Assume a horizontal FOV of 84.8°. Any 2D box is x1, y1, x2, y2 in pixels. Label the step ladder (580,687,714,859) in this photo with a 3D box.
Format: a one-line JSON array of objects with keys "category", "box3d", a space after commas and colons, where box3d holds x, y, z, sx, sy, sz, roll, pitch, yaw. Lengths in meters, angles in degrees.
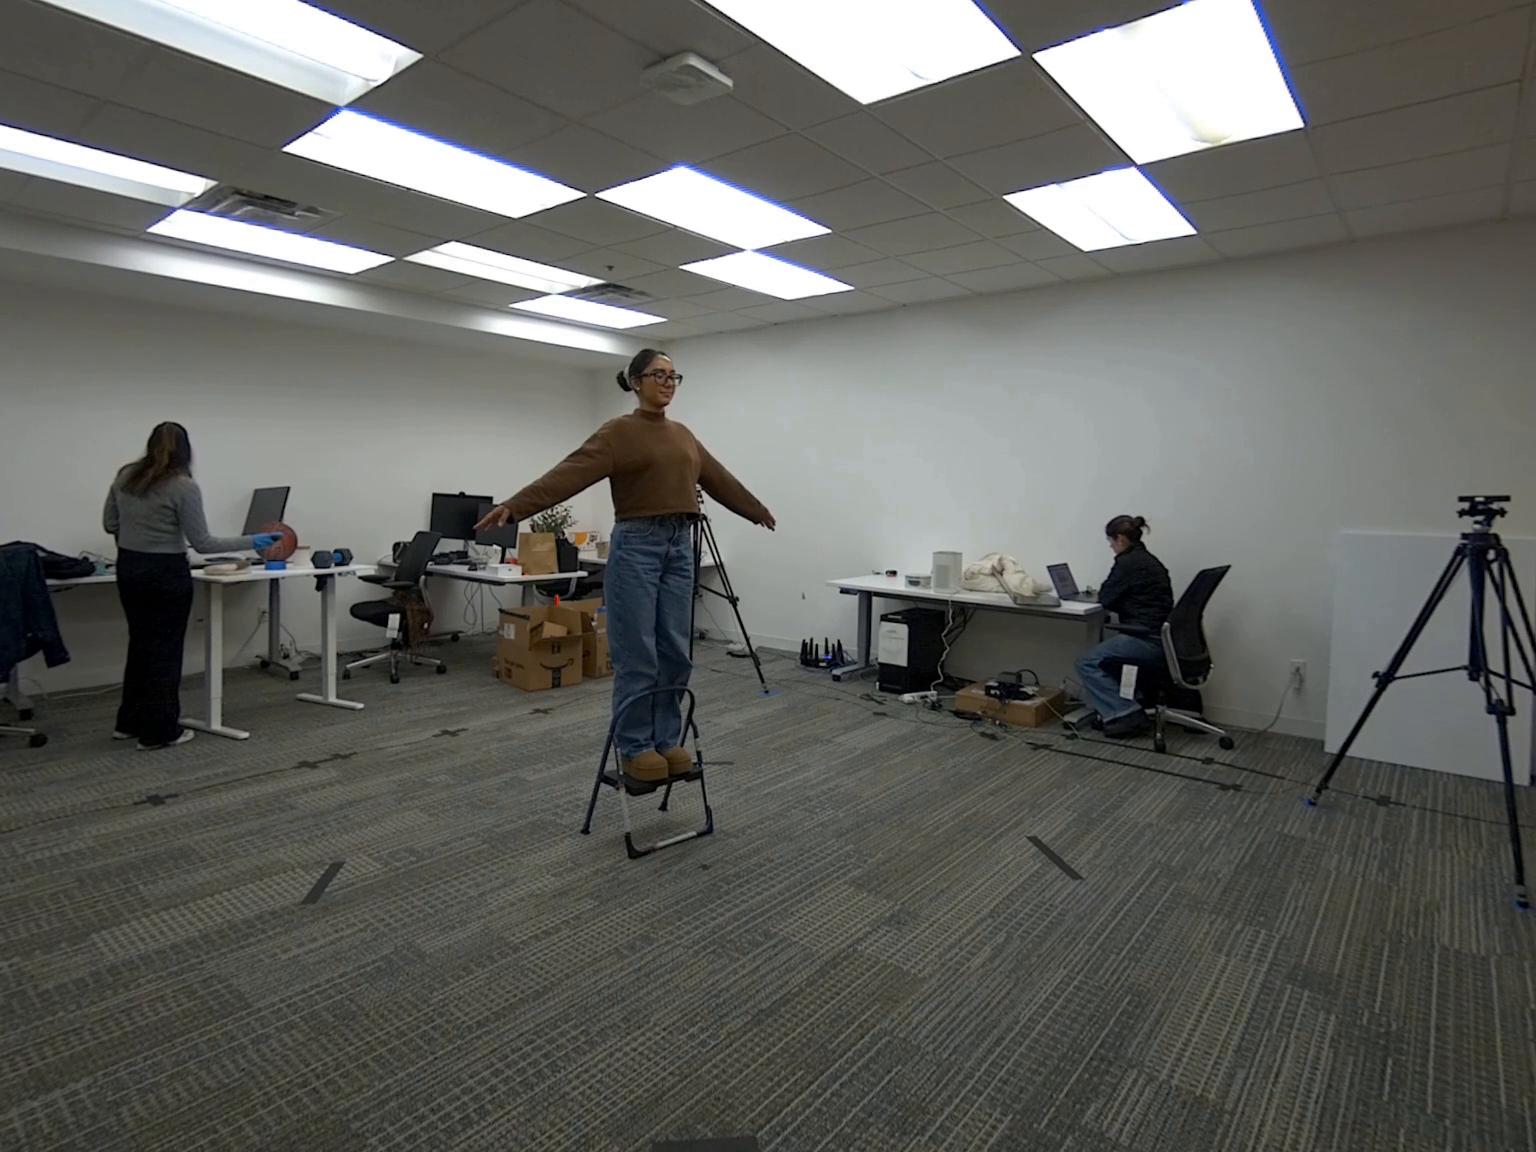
[{"category": "step ladder", "box3d": [-0.489, 0.731, 3.412, 0.417, 0.604, 0.361, -2, 5, -44]}]
